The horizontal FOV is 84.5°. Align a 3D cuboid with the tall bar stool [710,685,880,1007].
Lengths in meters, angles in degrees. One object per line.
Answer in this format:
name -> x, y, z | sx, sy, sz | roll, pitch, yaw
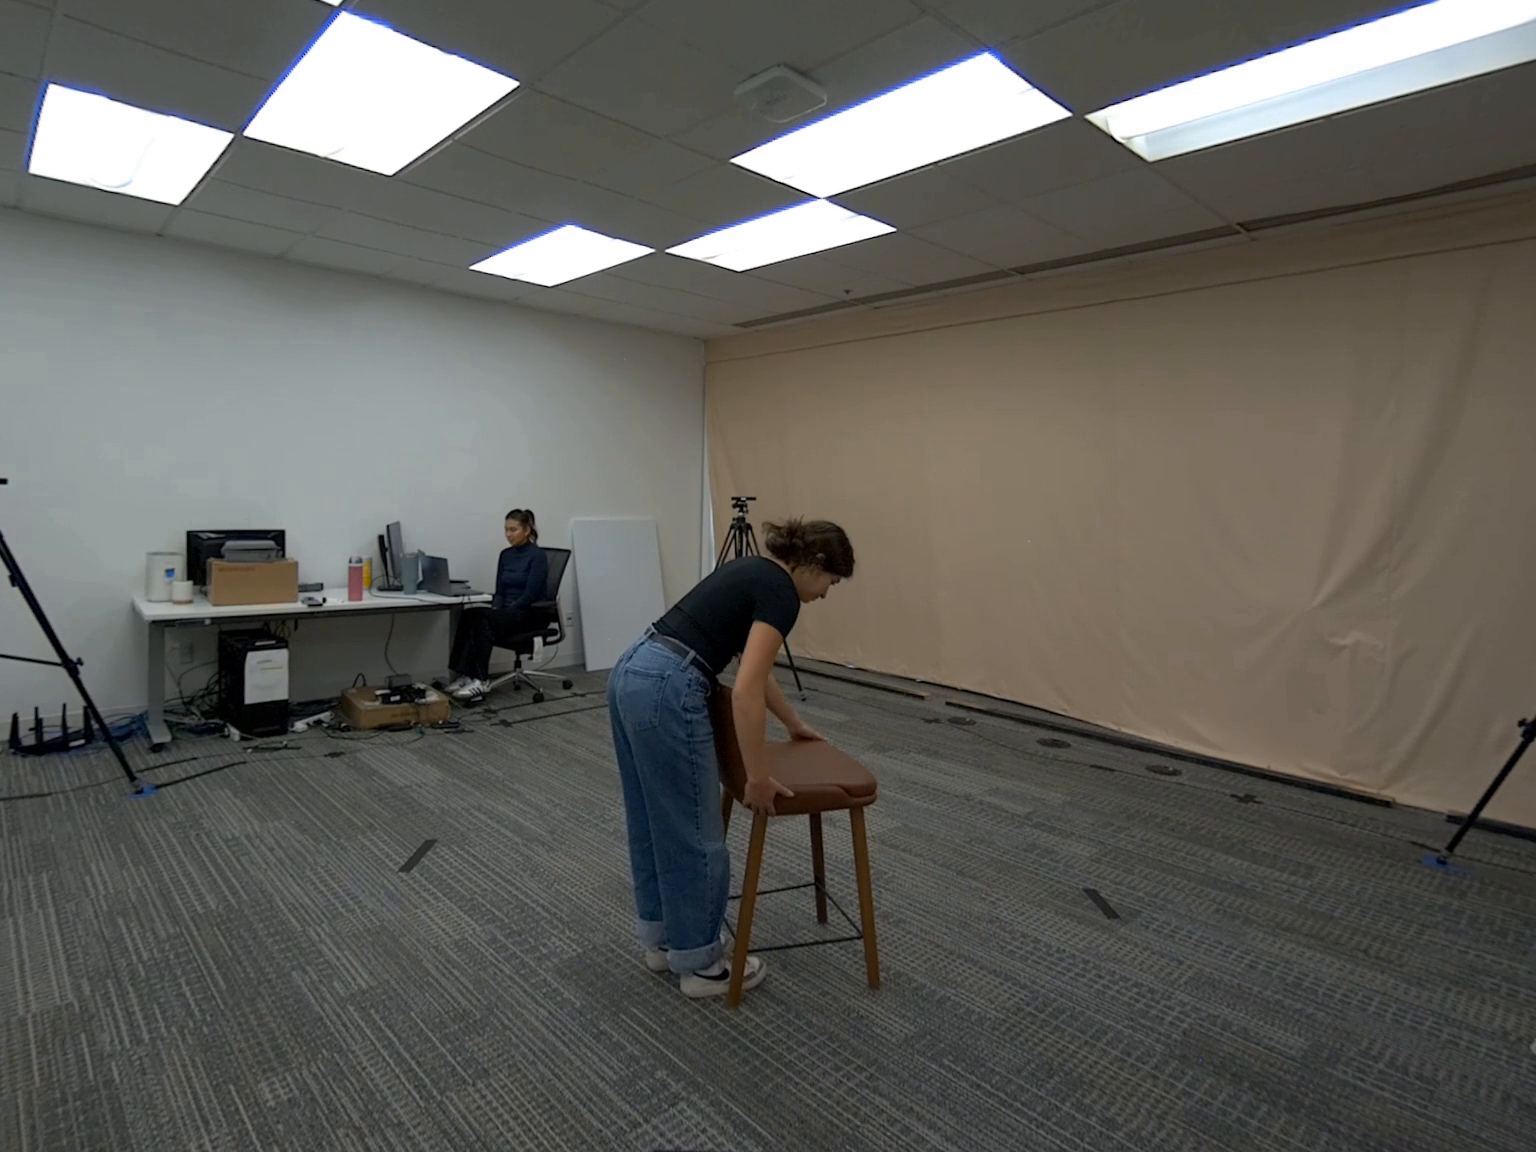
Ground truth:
tall bar stool -> 0.047, 0.728, 2.503 | 0.461, 0.887, 0.464 | -2, 5, -19
